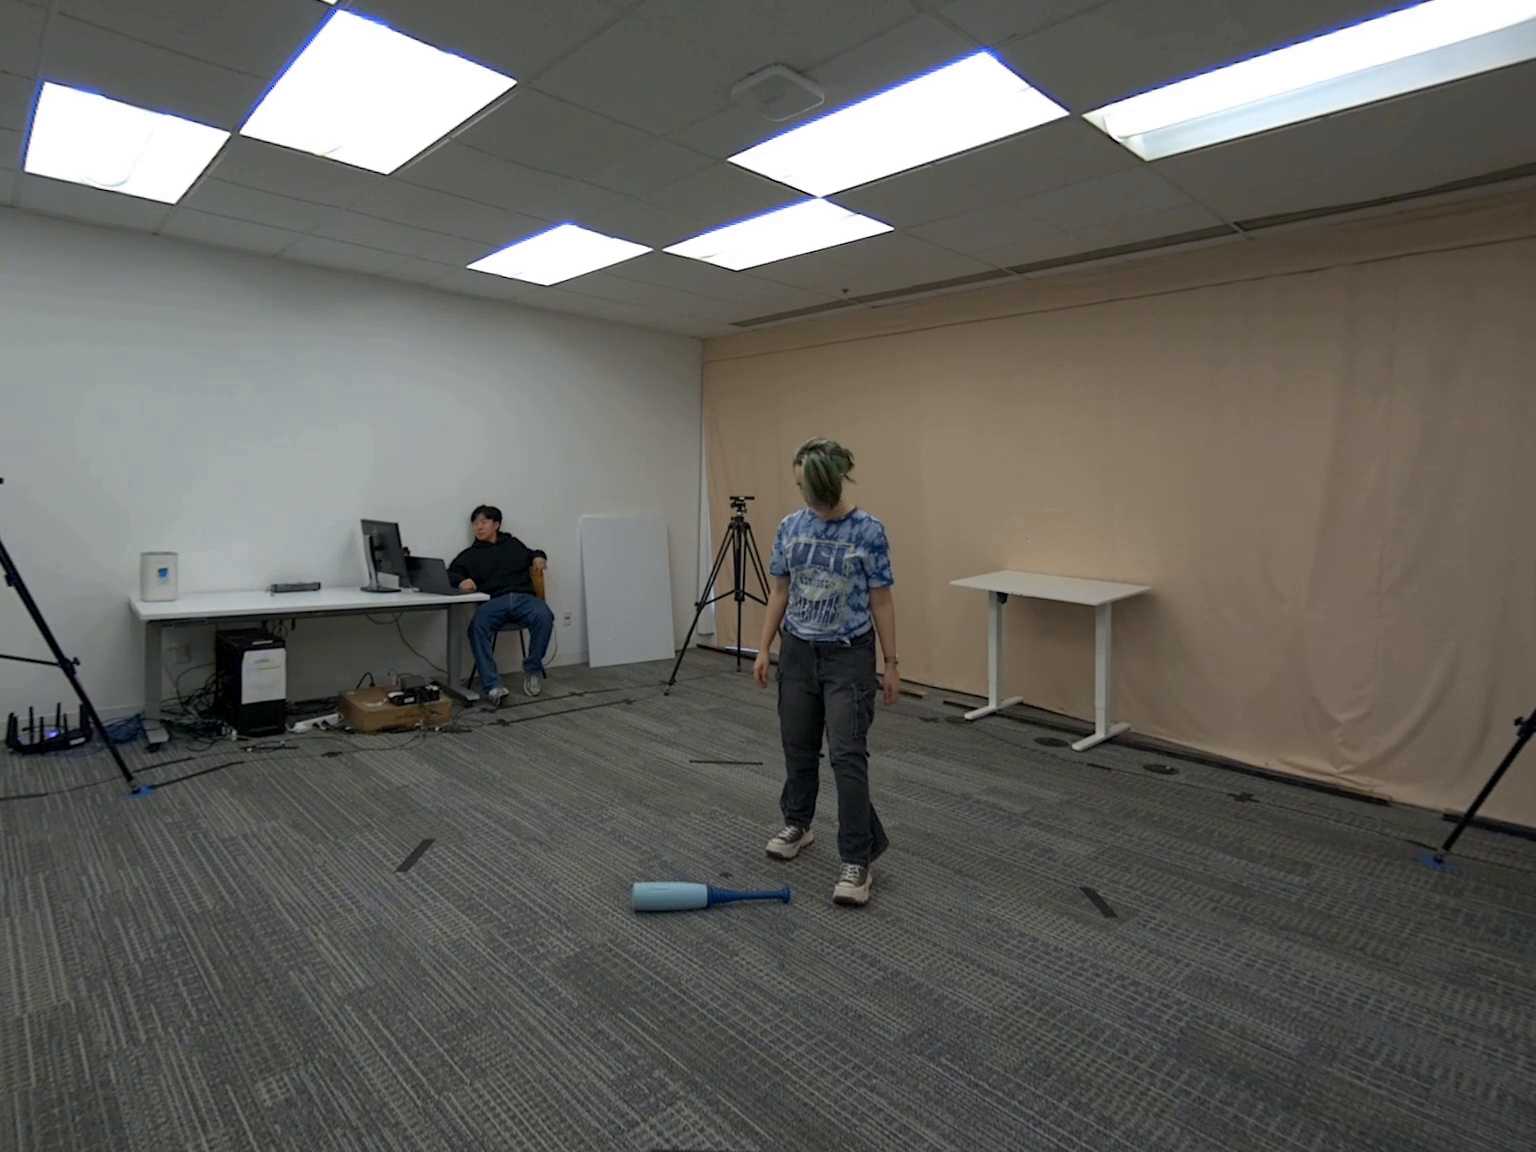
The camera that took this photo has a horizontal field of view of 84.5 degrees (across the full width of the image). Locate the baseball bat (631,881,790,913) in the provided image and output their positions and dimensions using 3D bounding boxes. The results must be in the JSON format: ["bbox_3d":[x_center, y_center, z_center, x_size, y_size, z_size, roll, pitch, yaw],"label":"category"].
[{"bbox_3d":[-0.195,1.092,2.854,0.539,0.089,0.090,4,4,-9],"label":"baseball bat"}]
